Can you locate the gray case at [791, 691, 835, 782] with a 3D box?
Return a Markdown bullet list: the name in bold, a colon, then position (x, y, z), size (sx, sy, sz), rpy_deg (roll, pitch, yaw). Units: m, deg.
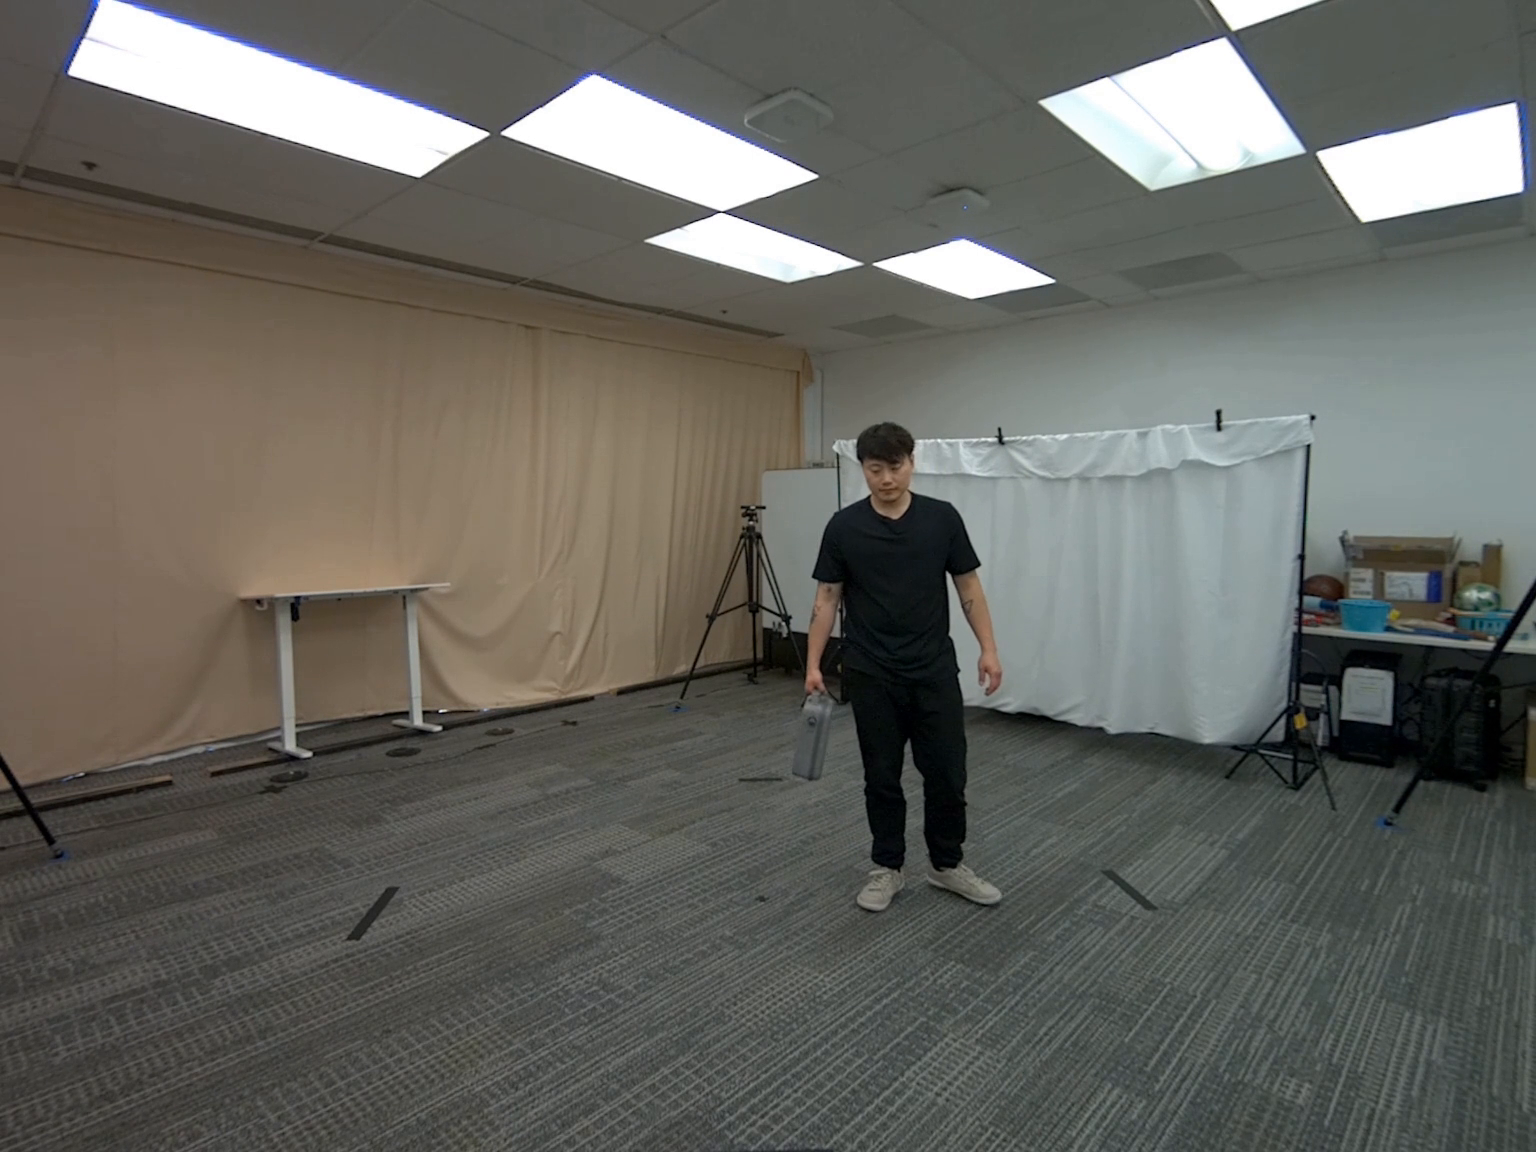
- **gray case**: position (0.169, 0.557, 2.956), size (0.105, 0.260, 0.254), rpy_deg (6, 1, 8)
